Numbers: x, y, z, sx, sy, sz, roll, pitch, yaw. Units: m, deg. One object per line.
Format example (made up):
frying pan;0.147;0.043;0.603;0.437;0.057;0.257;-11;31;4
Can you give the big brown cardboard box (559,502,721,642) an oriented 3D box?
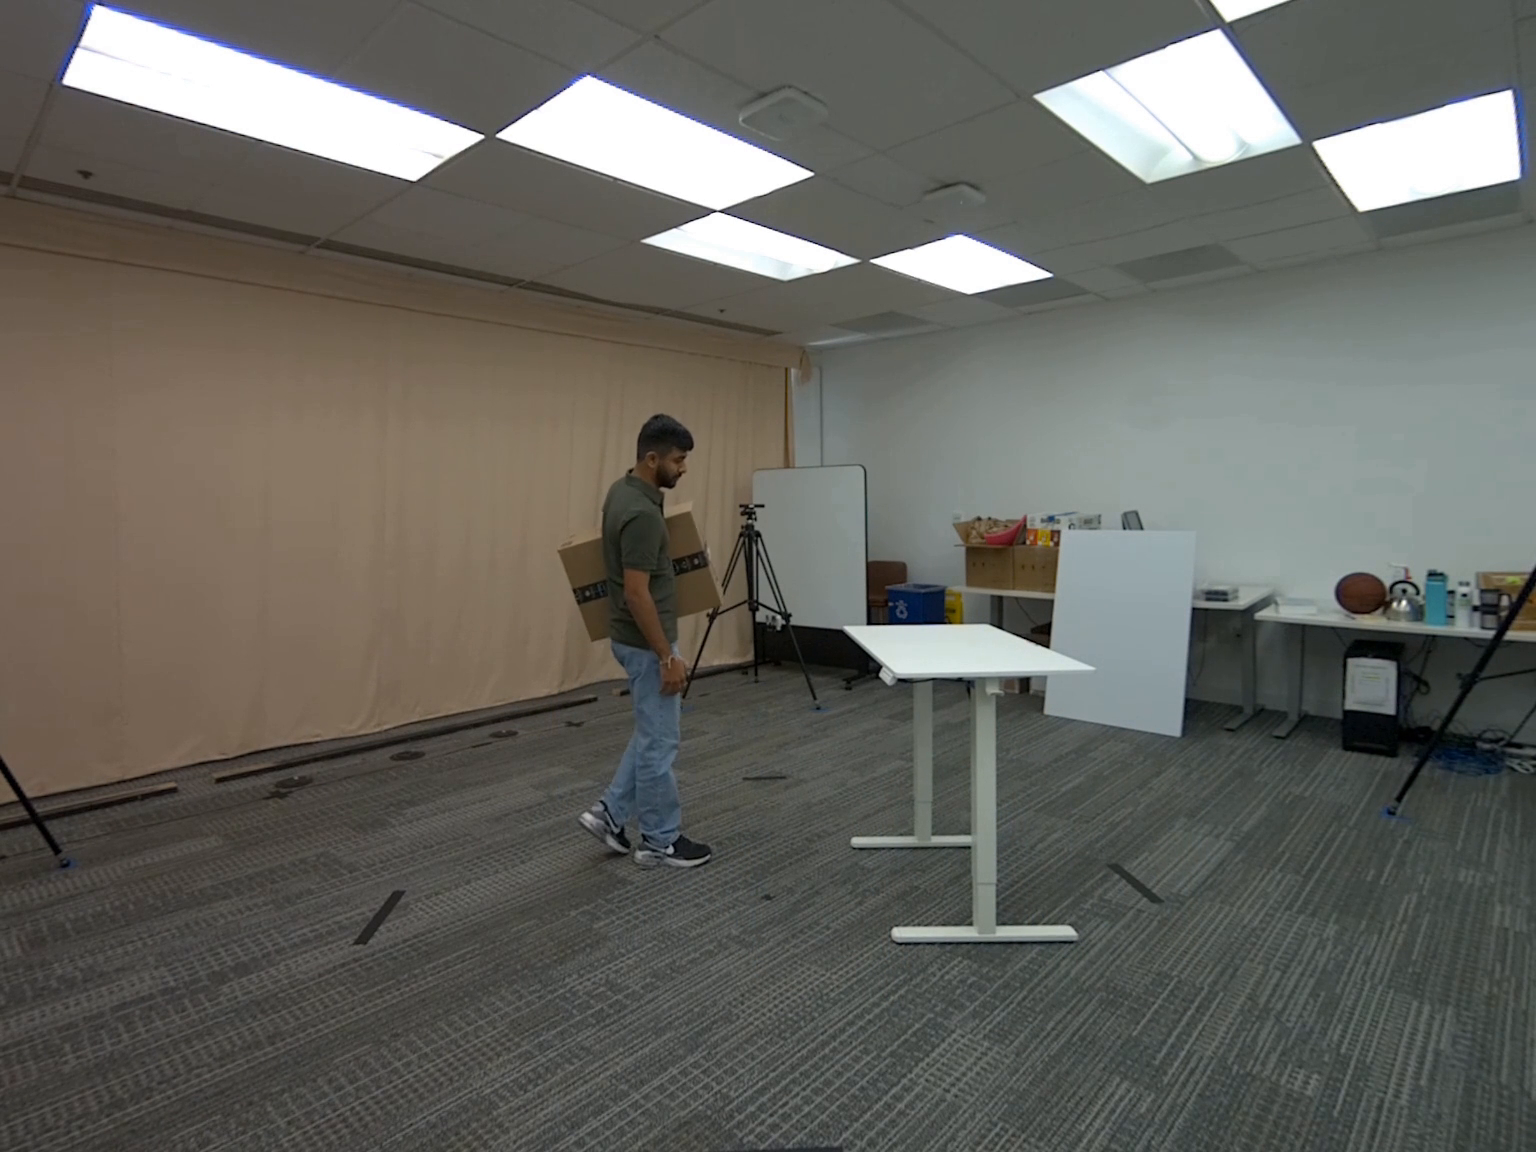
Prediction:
big brown cardboard box;-0.526;-0.022;3.504;0.593;0.413;0.234;-14;14;7
